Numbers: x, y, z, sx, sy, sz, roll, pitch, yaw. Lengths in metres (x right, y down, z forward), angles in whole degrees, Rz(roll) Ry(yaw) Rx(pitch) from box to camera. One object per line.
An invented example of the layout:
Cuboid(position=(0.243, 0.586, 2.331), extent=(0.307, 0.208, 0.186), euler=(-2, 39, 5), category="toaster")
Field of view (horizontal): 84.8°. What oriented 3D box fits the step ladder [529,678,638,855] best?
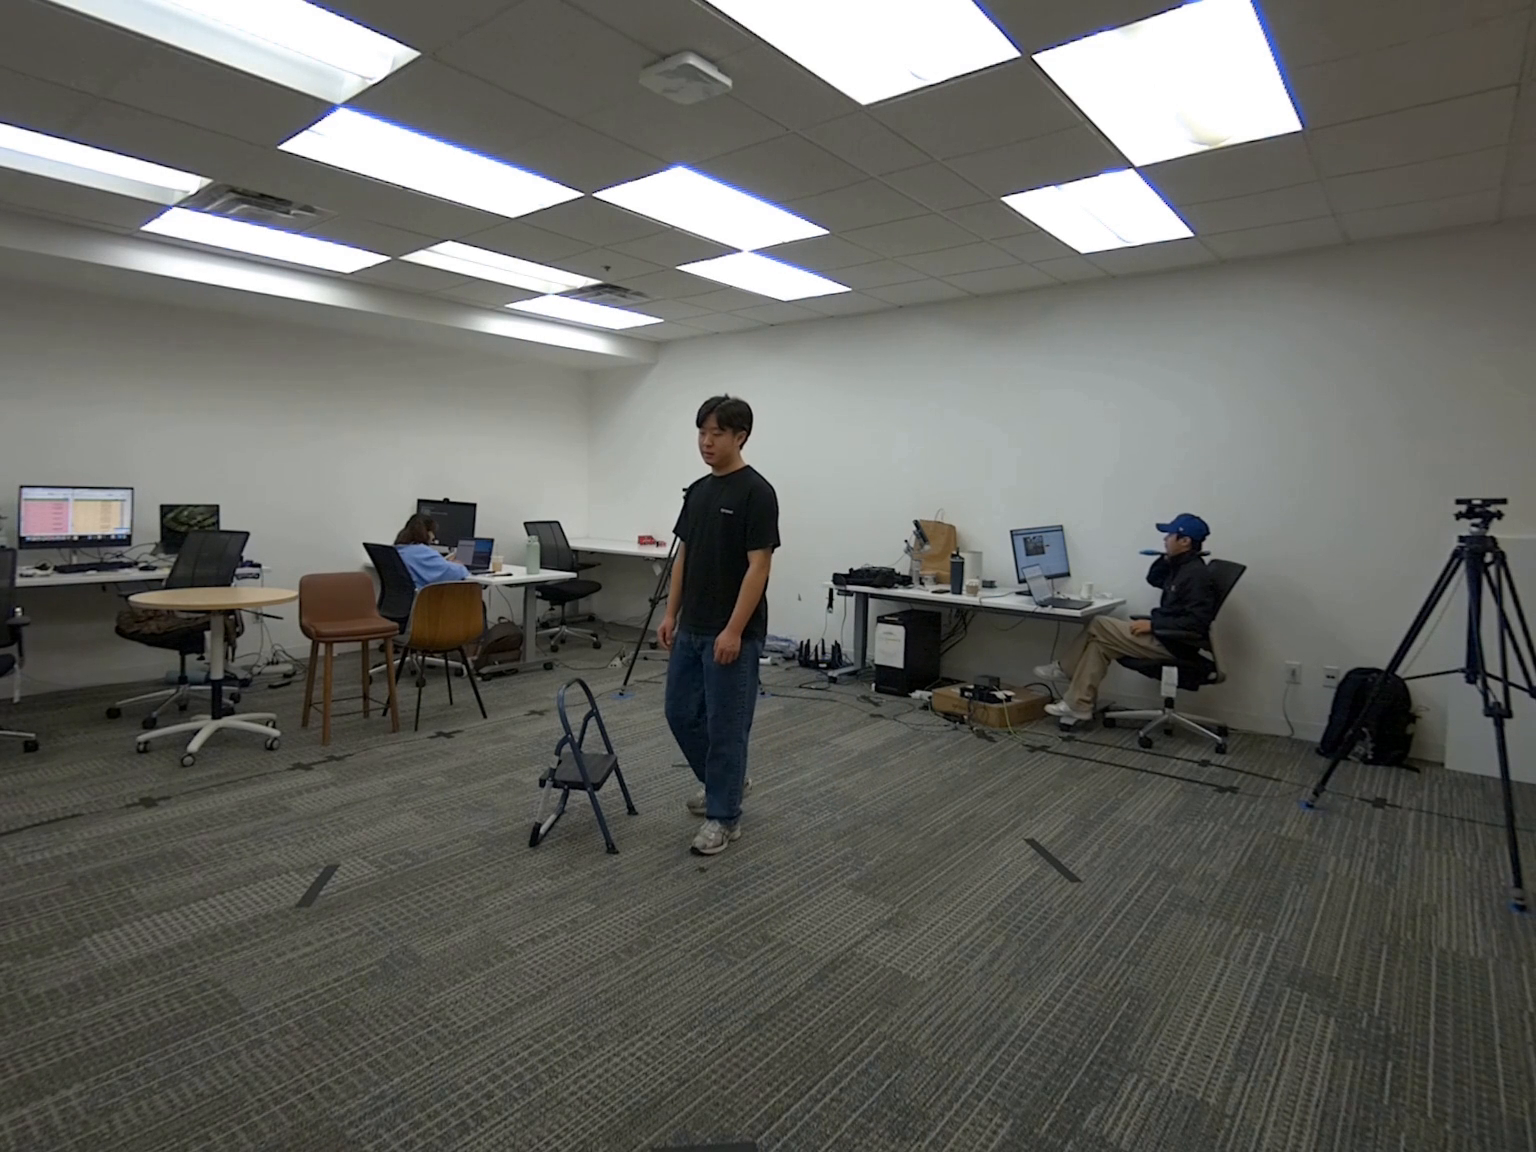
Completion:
Cuboid(position=(-0.748, 0.727, 3.443), extent=(0.351, 0.605, 0.430), euler=(1, 3, 3), category="step ladder")
